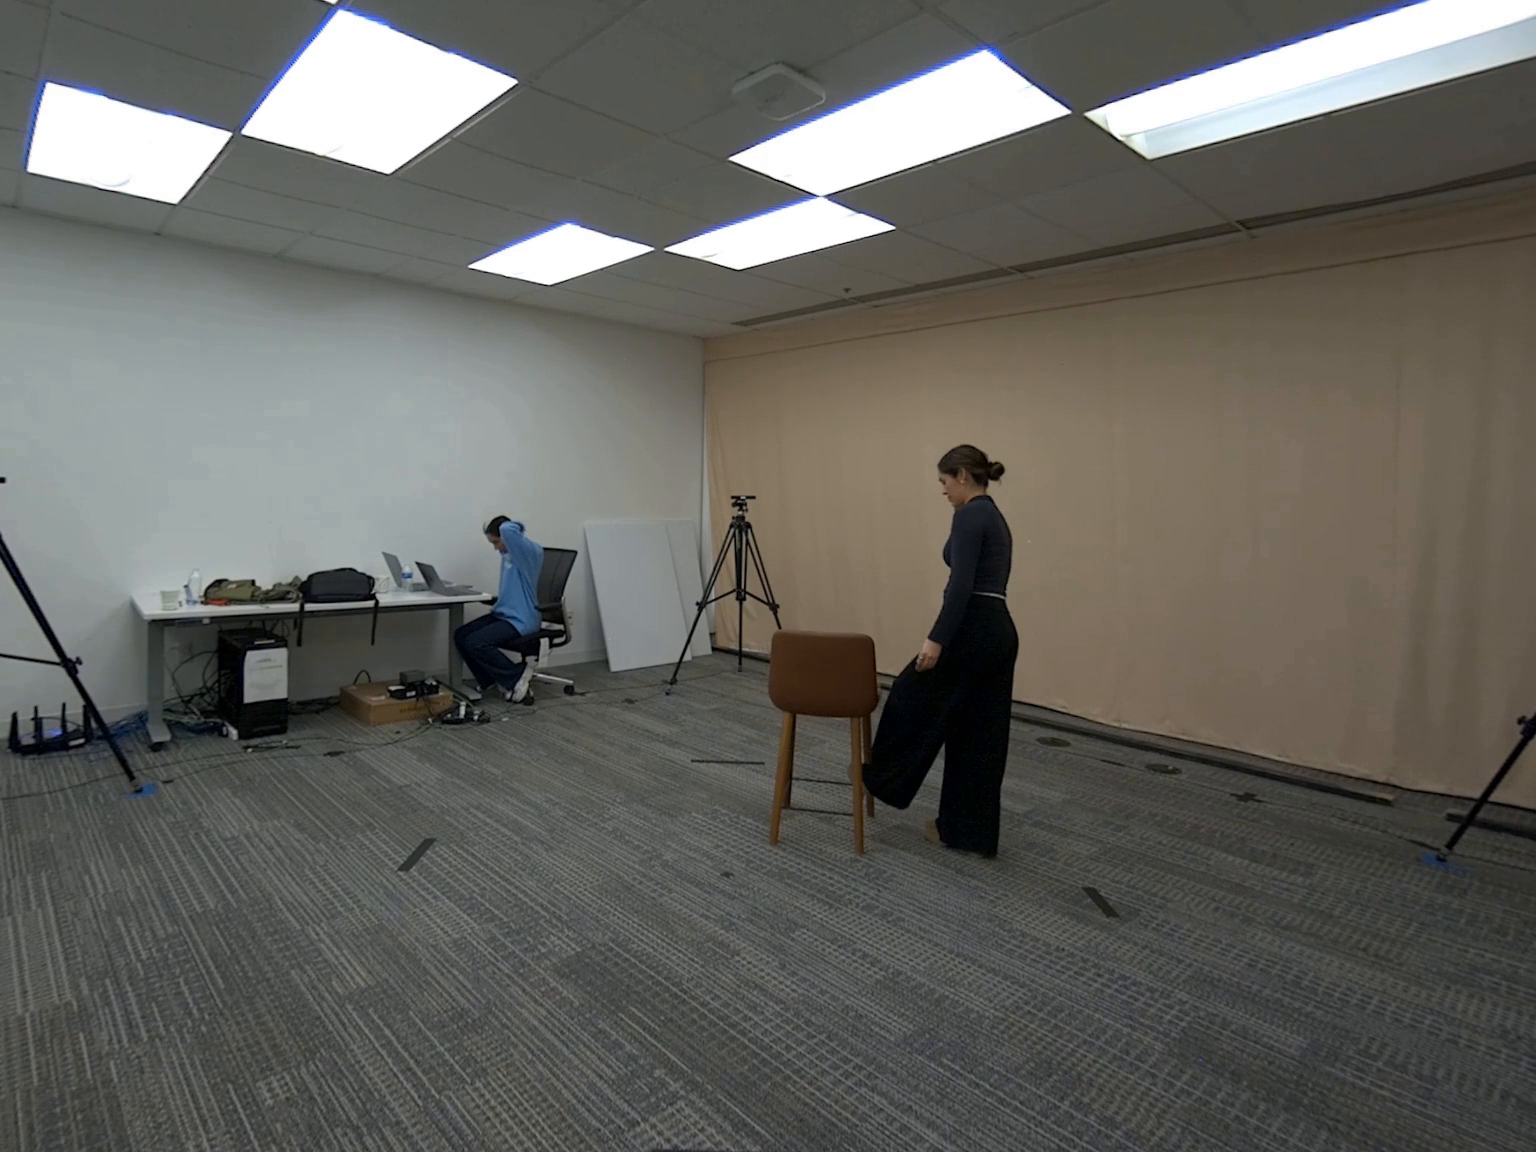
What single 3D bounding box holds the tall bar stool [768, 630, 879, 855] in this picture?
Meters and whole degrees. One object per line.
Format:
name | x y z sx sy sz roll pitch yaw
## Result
tall bar stool | 0.234 0.639 3.542 0.461 0.887 0.464 2 4 13
